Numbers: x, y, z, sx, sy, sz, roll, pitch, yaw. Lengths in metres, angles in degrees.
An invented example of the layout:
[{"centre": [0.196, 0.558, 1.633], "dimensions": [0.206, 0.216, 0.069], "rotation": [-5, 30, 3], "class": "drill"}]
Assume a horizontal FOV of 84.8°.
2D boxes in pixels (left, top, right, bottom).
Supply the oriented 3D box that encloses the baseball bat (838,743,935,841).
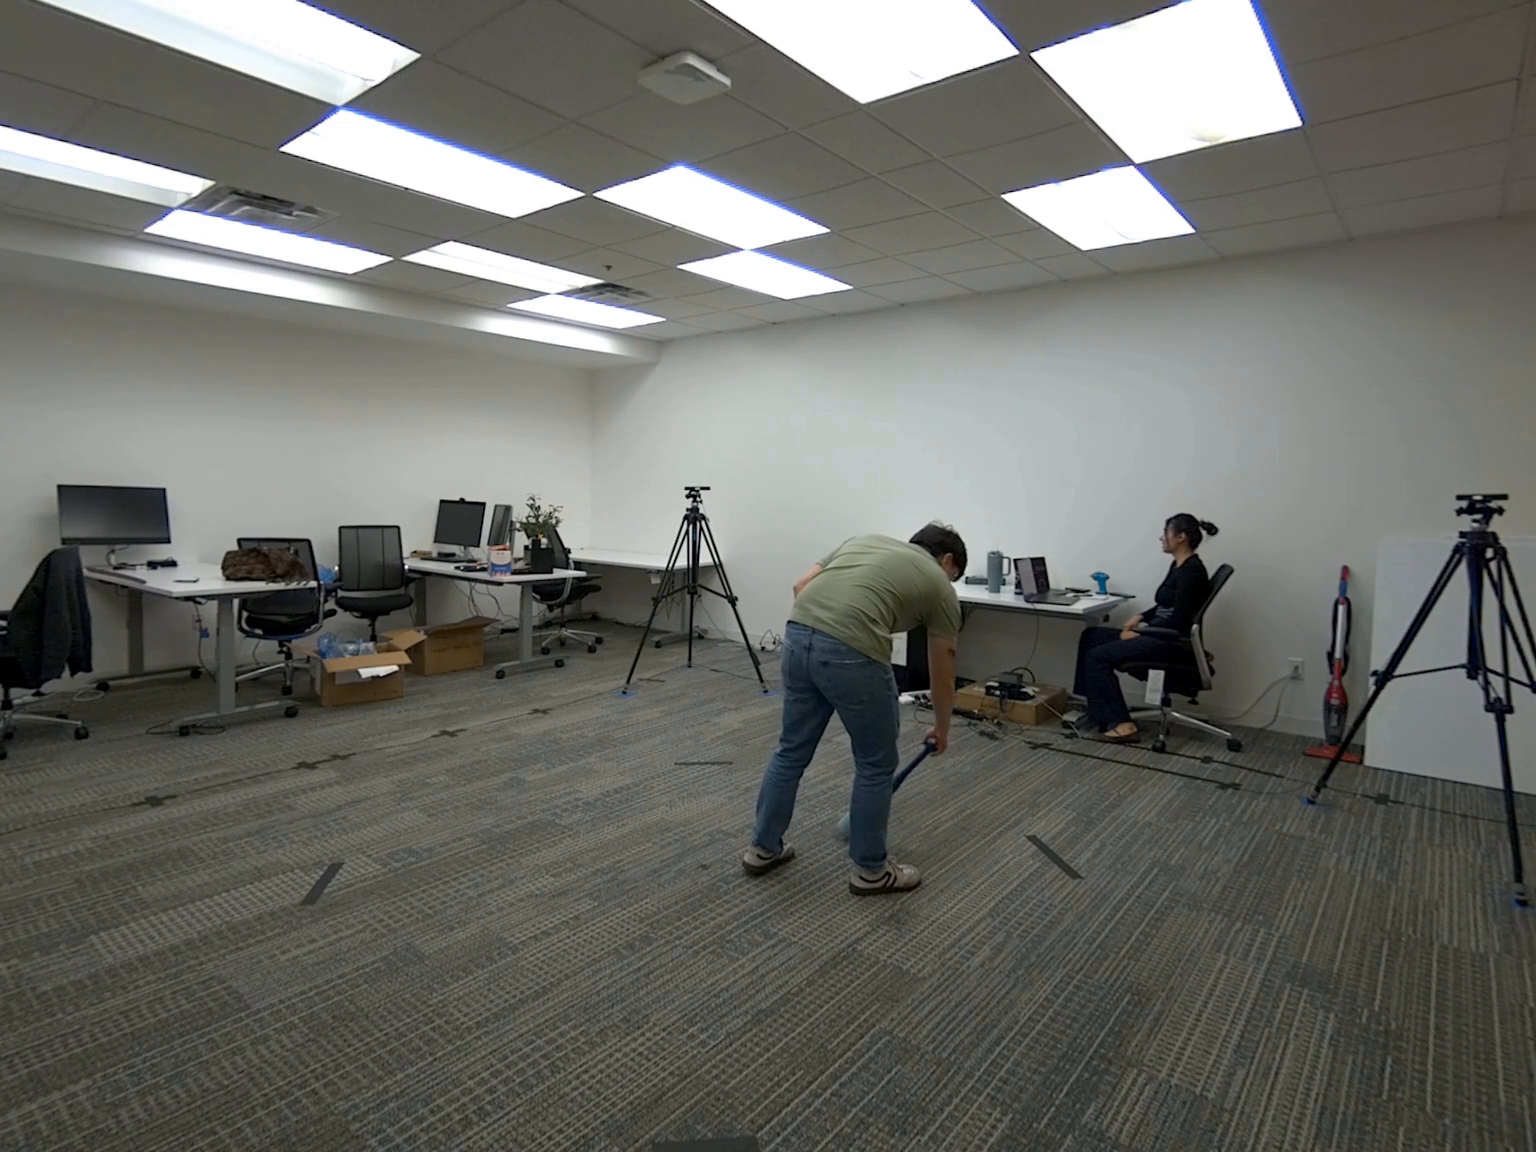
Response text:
[{"centre": [0.454, 0.823, 3.305], "dimensions": [0.087, 0.542, 0.091], "rotation": [31, 23, -17], "class": "baseball bat"}]
